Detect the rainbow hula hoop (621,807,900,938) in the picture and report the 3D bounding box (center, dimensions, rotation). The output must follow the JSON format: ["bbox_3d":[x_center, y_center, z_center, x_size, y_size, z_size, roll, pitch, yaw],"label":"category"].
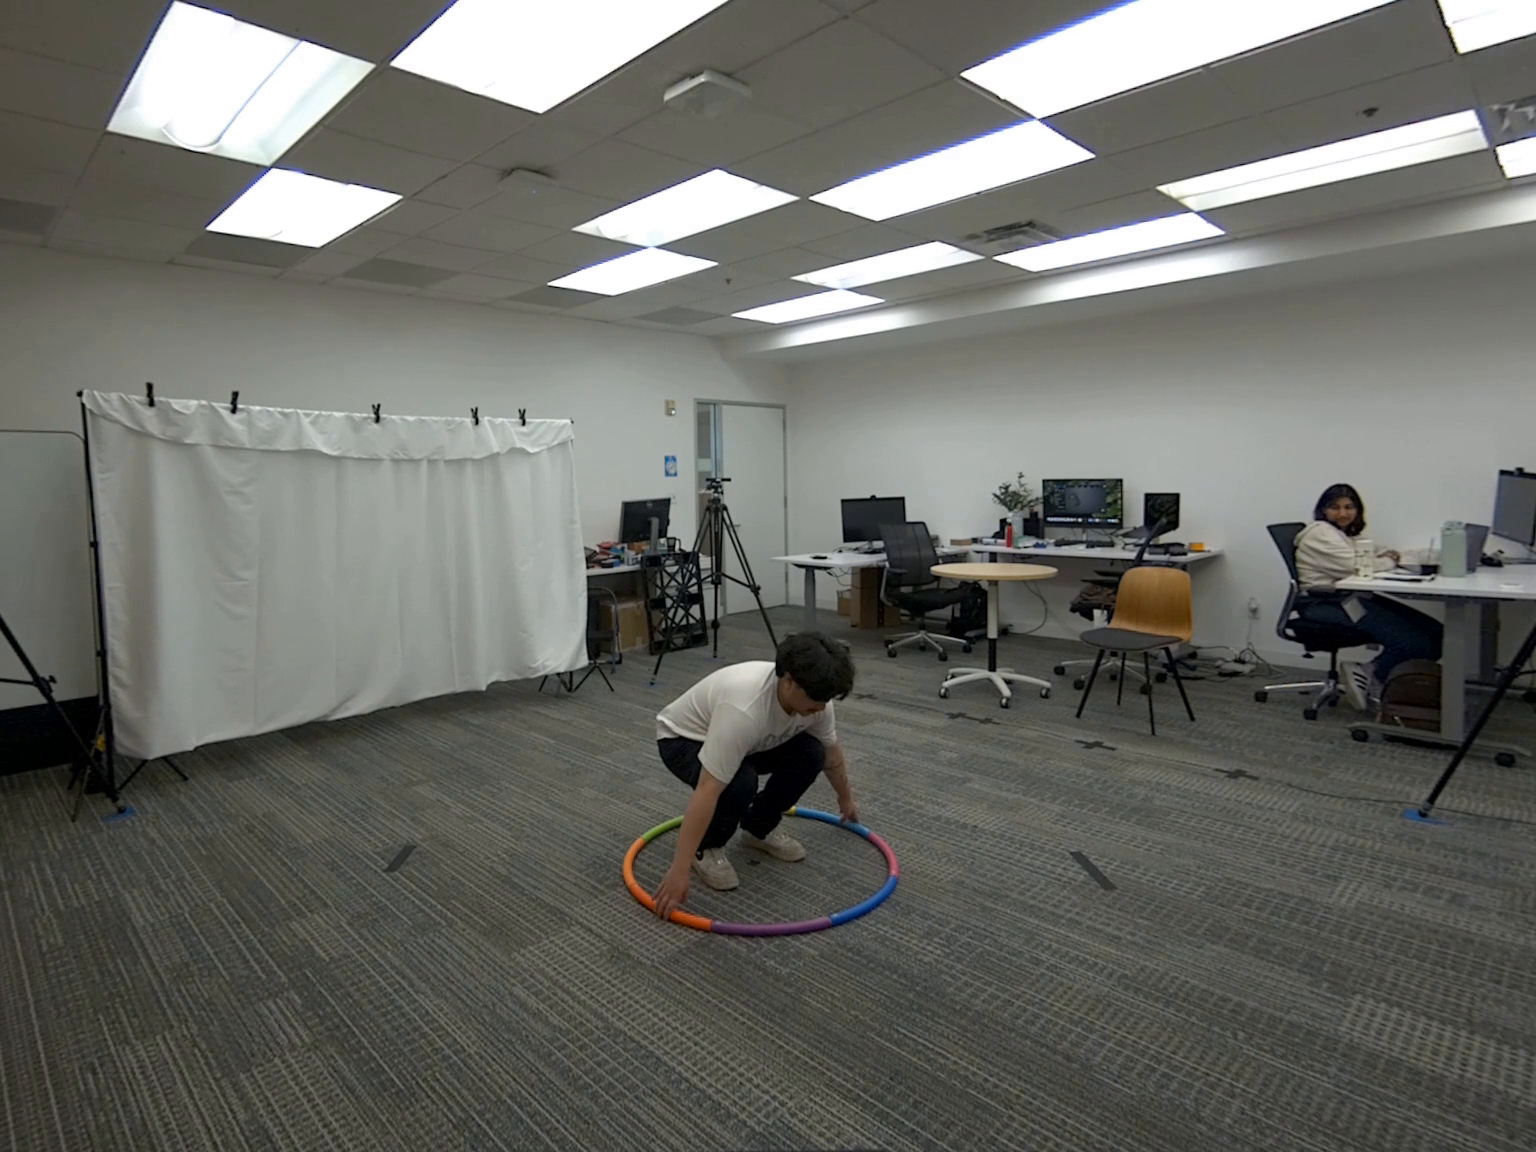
[{"bbox_3d":[-0.029,1.017,3.090,0.985,0.051,0.991,-2,6,-2],"label":"rainbow hula hoop"}]
